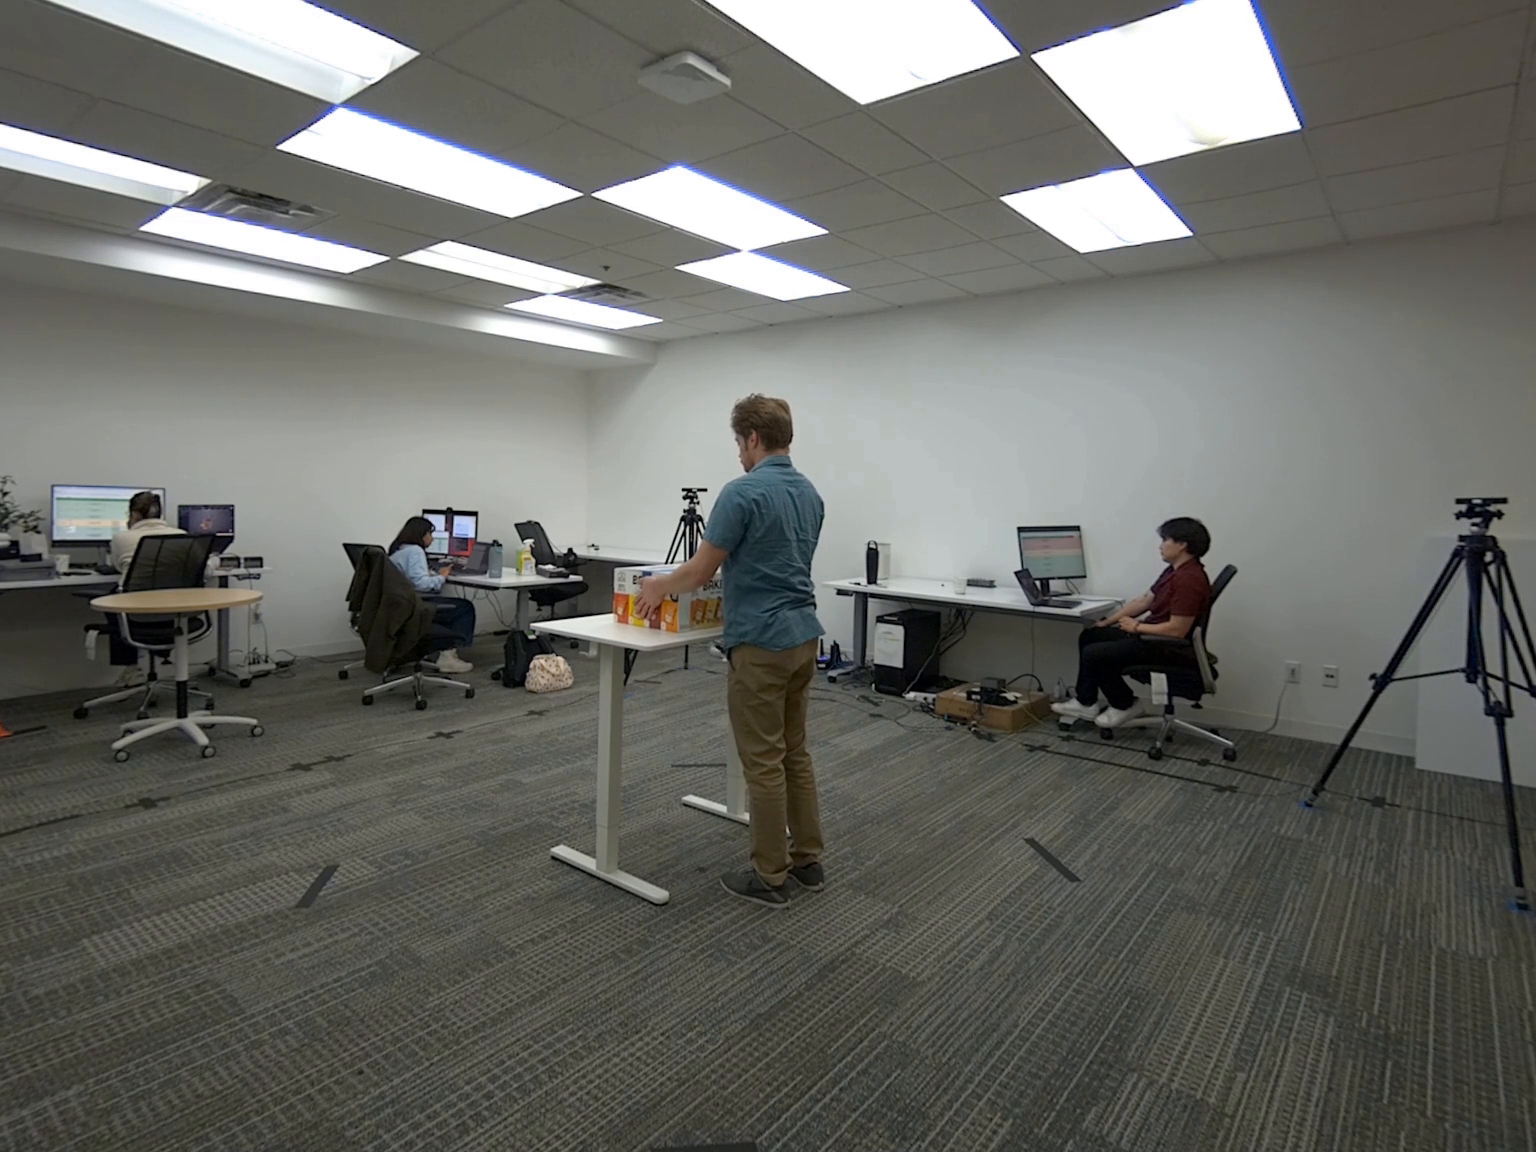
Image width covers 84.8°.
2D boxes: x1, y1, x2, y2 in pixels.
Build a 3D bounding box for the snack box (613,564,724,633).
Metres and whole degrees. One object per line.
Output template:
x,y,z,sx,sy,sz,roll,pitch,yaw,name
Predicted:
-0.338,0.070,3.235,0.352,0.205,0.393,6,7,38,snack box
